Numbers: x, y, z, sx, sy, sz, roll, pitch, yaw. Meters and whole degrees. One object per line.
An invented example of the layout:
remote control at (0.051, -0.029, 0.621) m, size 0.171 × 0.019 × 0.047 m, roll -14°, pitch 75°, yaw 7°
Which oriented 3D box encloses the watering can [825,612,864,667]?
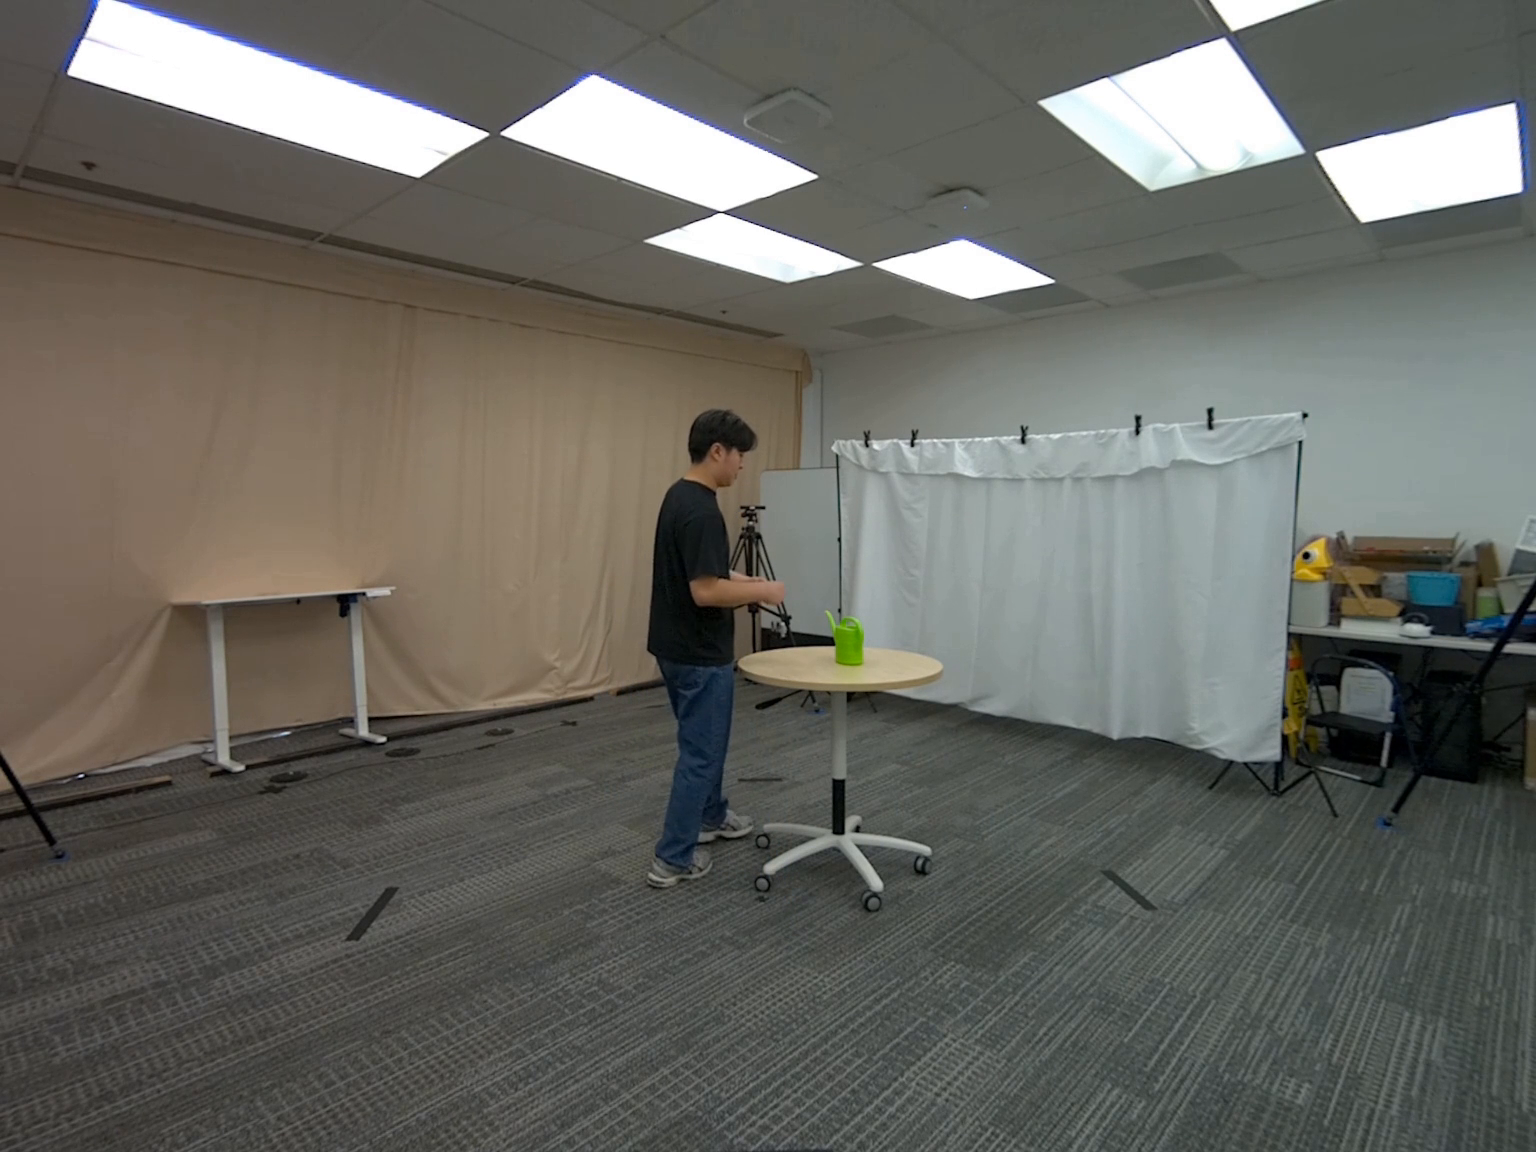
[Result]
watering can at (0.302, 0.238, 3.227) m, size 0.097 × 0.176 × 0.282 m, roll 1°, pitch 5°, yaw -11°
